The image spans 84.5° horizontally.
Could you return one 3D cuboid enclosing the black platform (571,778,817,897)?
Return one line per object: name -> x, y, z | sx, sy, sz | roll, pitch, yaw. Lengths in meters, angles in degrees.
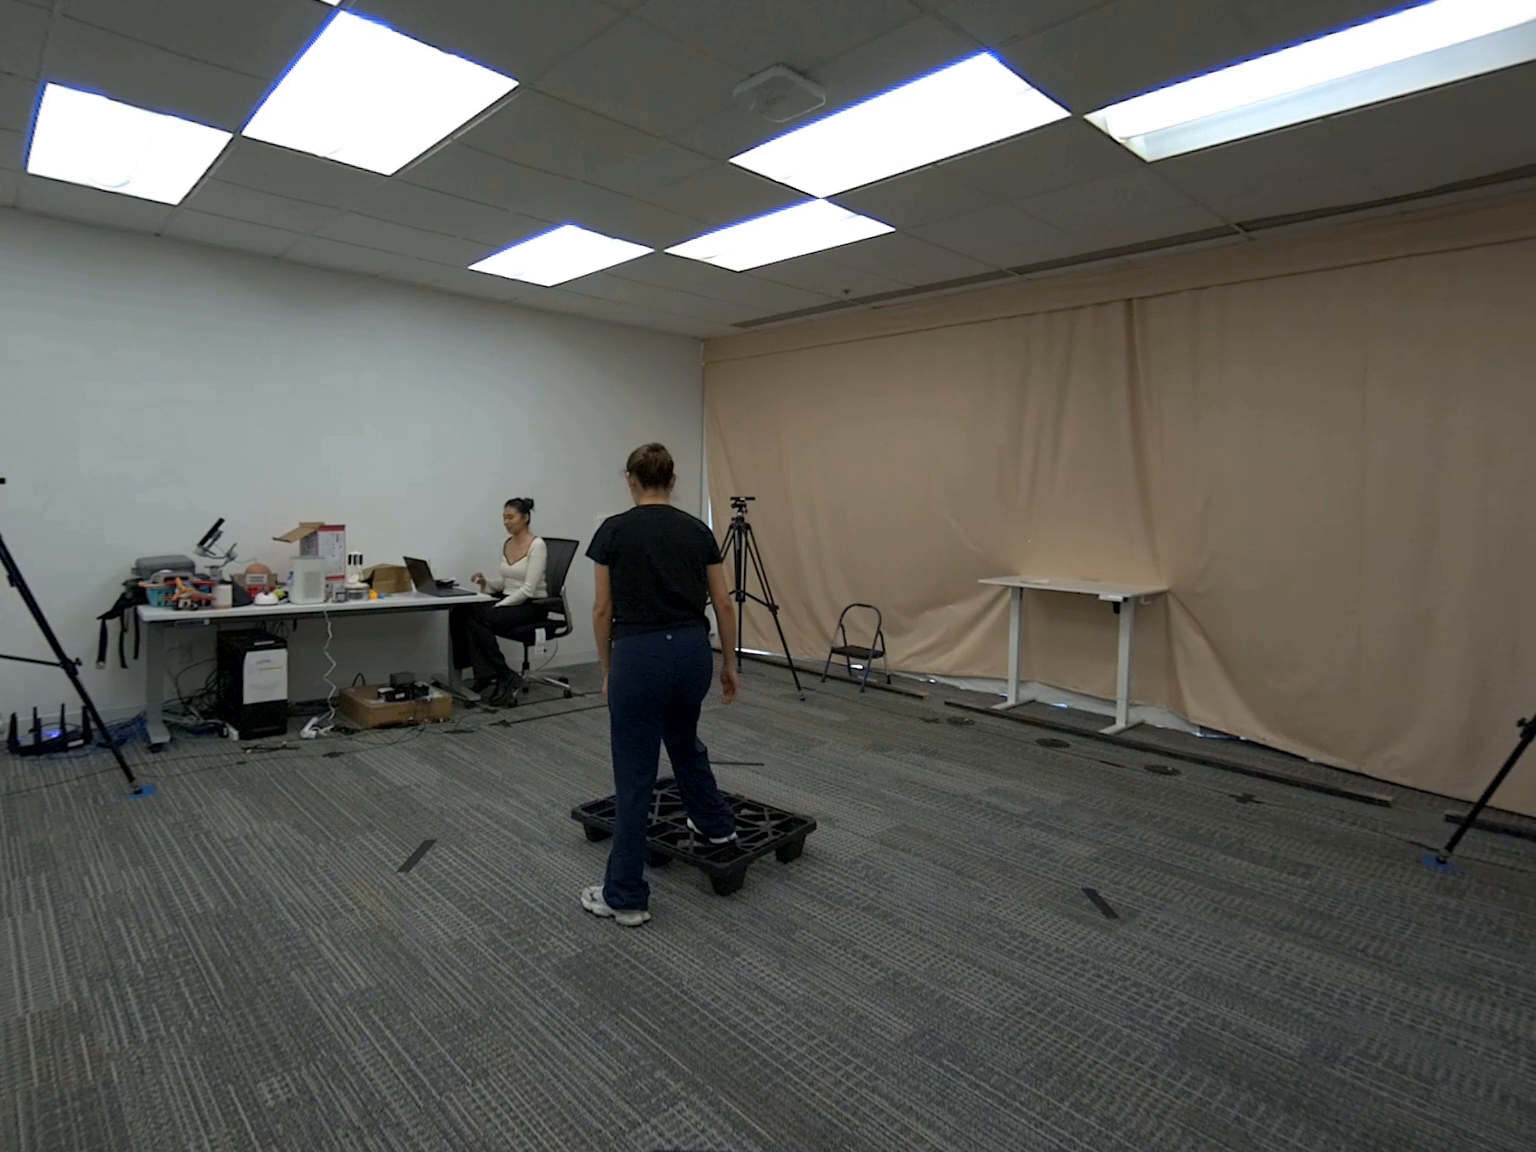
black platform -> -0.302, 1.017, 3.325 | 0.825, 0.143, 0.592 | 5, 7, 38
